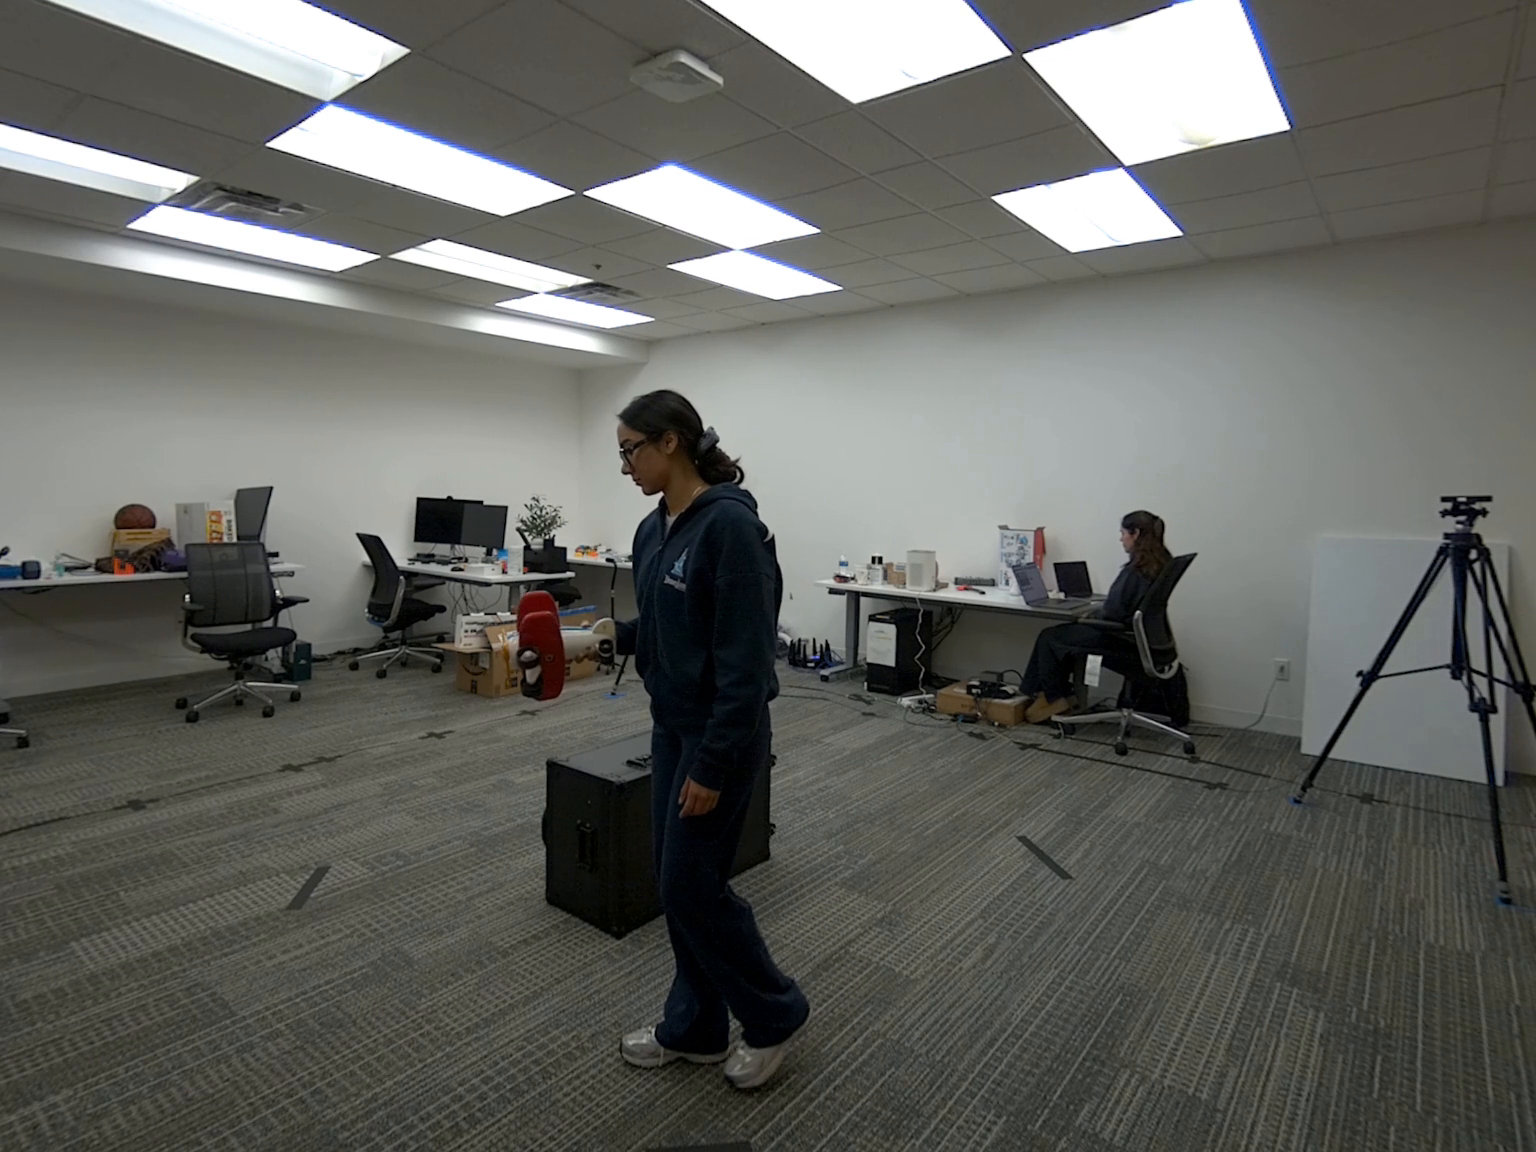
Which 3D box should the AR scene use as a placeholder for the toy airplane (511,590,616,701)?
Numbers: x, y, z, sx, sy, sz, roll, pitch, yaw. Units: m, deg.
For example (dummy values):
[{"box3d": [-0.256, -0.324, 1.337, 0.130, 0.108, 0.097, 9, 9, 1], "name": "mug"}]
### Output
[{"box3d": [-0.480, 0.183, 1.976, 0.250, 0.249, 0.163, 14, 21, -39], "name": "toy airplane"}]
